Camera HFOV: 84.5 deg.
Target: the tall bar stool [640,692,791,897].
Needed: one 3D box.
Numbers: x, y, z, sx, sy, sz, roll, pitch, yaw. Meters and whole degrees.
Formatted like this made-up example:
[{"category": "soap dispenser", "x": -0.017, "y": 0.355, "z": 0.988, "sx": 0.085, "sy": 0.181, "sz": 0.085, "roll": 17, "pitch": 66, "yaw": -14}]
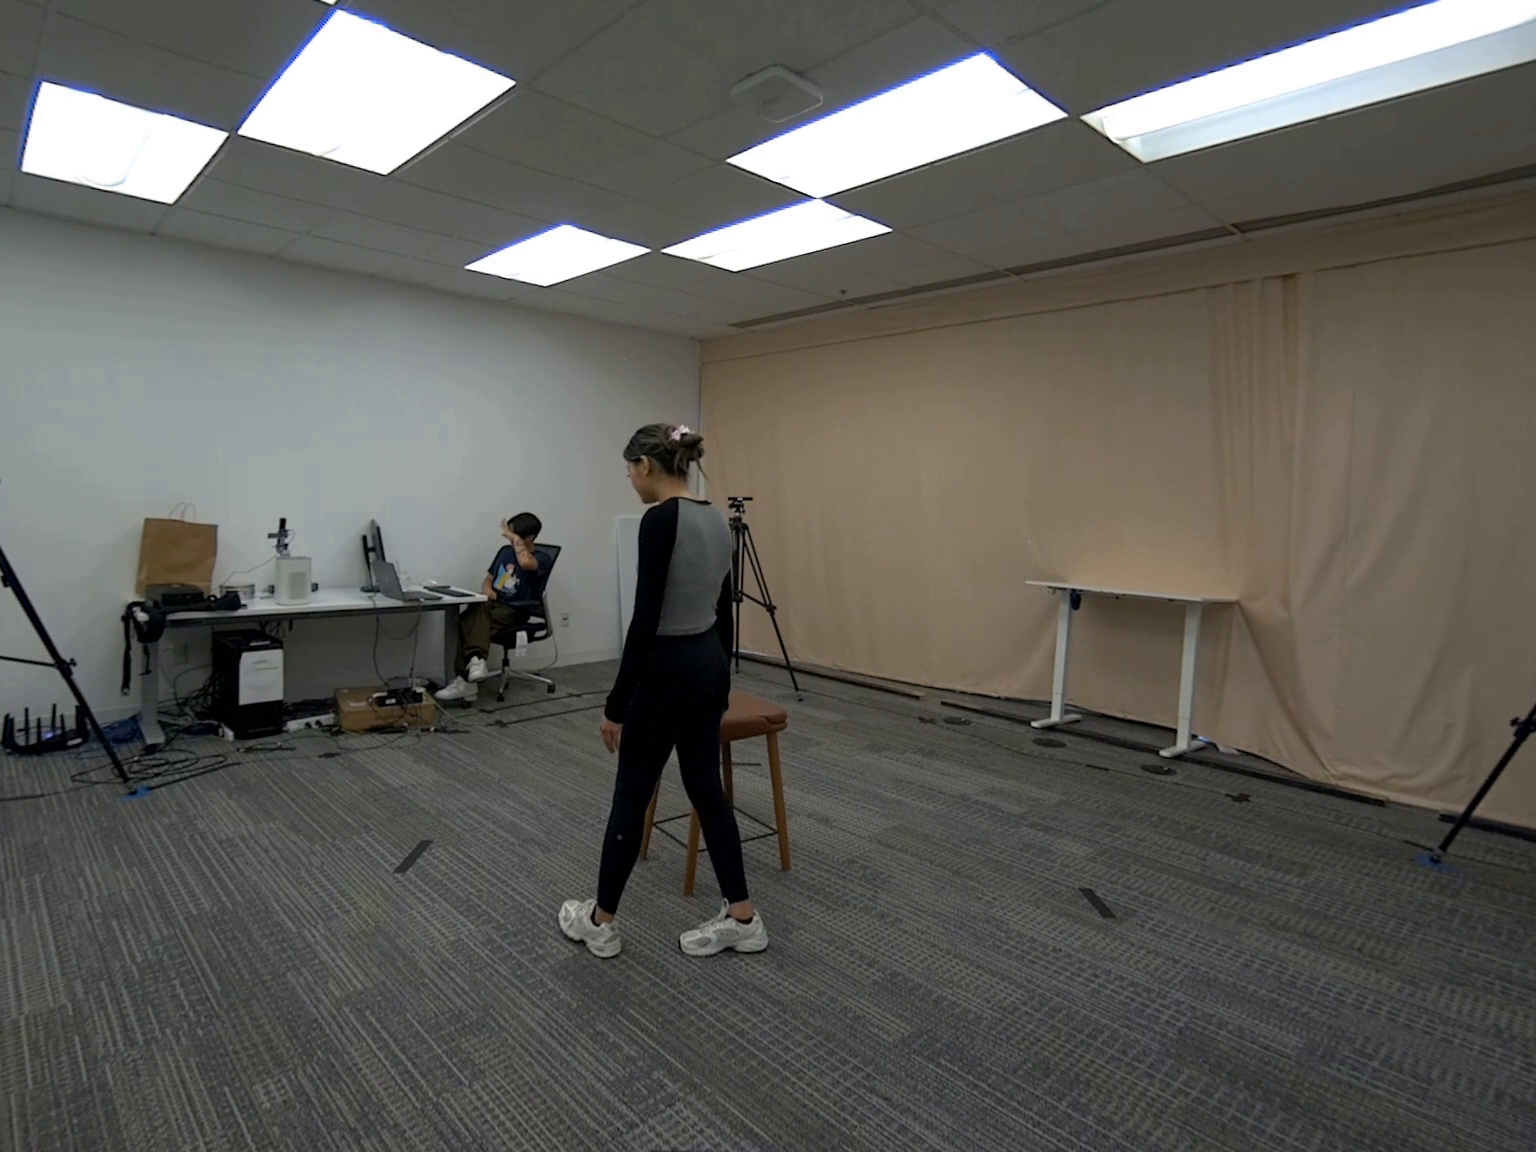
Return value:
[{"category": "tall bar stool", "x": -0.213, "y": 0.662, "z": 3.182, "sx": 0.458, "sy": 0.887, "sz": 0.467, "roll": -3, "pitch": 5, "yaw": -35}]
